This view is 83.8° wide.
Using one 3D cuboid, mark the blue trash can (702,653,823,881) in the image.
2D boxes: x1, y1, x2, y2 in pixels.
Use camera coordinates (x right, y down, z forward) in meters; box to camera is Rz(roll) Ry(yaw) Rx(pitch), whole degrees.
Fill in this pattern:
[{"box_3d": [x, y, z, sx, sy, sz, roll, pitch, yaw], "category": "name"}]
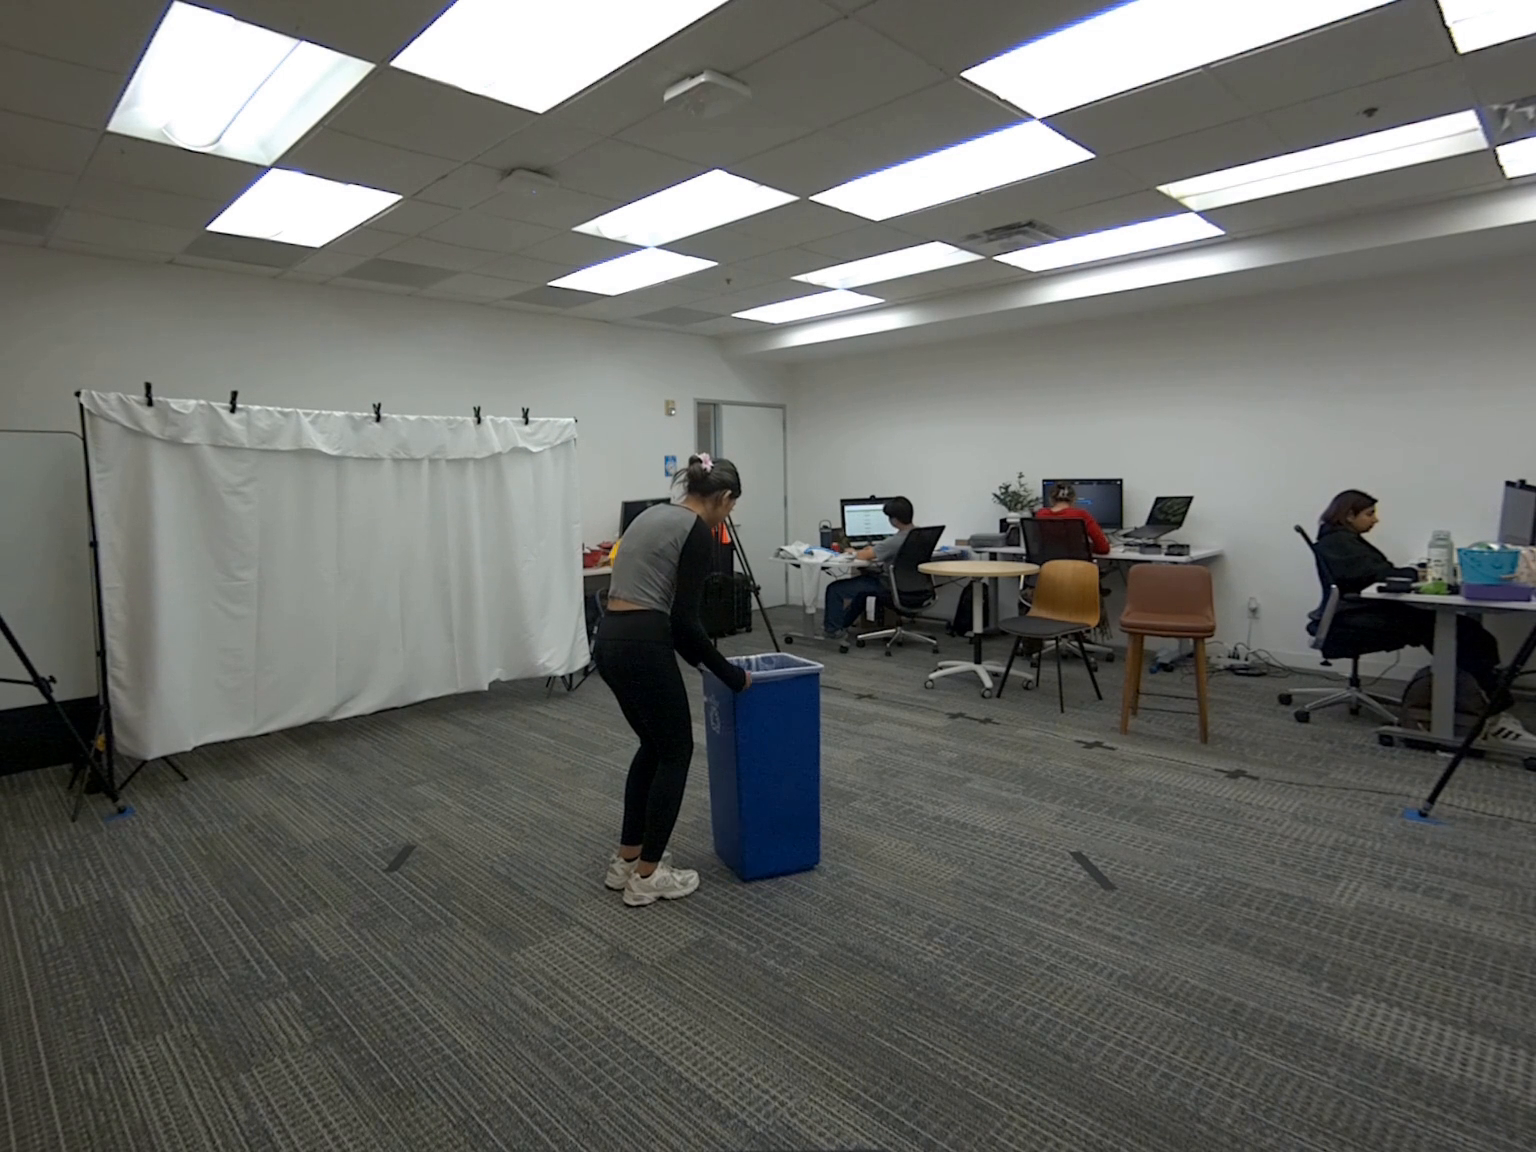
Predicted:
[{"box_3d": [-0.025, 0.674, 3.122, 0.367, 0.713, 0.386, -2, 1, -23], "category": "blue trash can"}]
